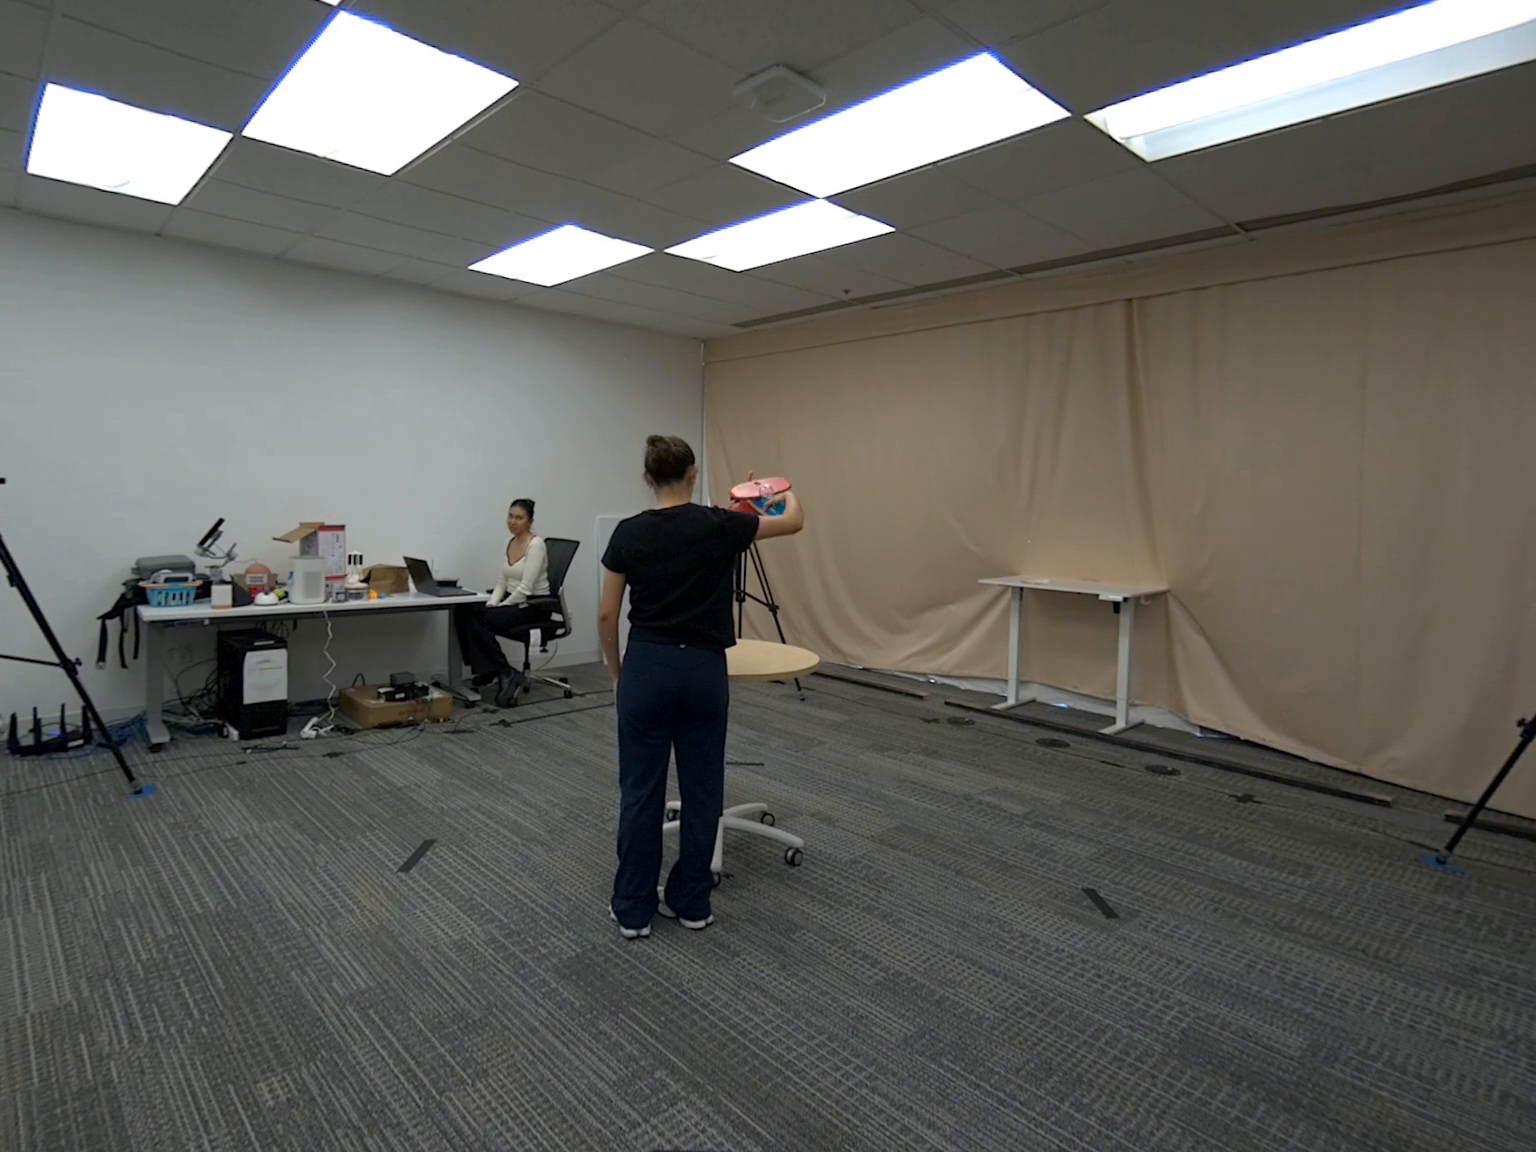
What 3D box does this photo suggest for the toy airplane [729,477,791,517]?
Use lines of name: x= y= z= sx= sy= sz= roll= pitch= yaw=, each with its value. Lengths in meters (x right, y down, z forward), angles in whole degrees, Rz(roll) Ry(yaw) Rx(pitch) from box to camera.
toy airplane: x=0.000 y=-0.250 z=3.127 sx=0.265 sy=0.154 sz=0.249 roll=12 pitch=28 yaw=28
